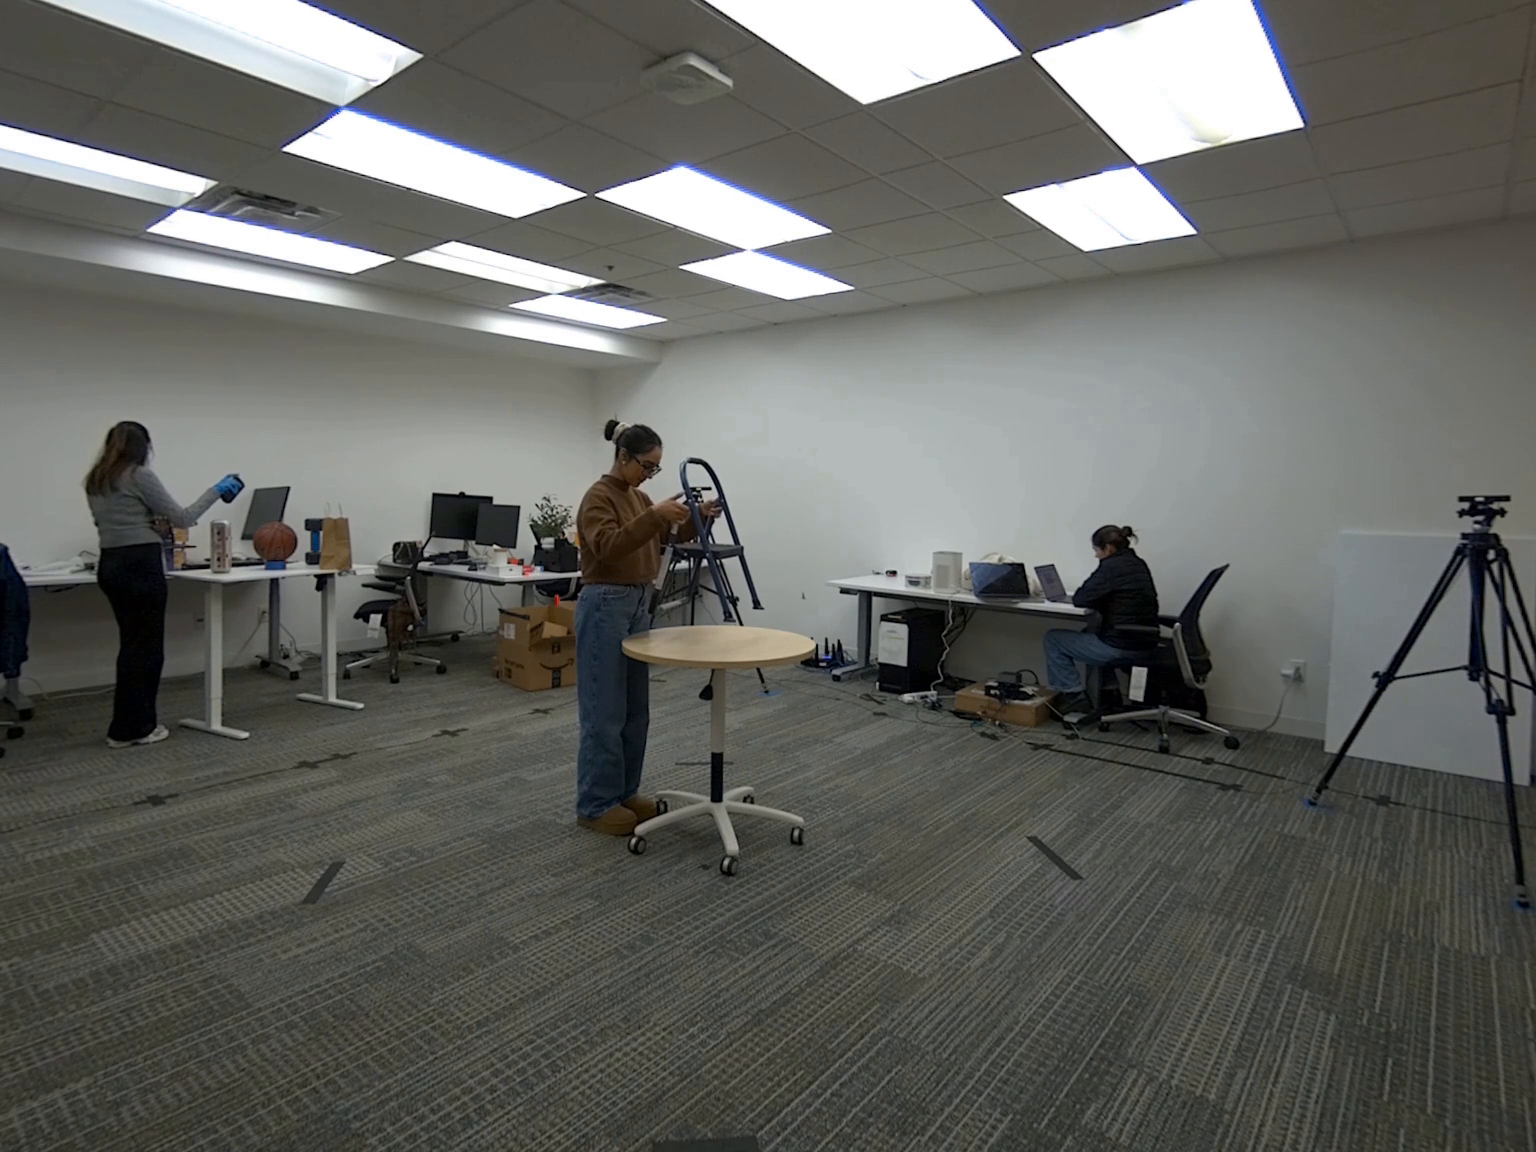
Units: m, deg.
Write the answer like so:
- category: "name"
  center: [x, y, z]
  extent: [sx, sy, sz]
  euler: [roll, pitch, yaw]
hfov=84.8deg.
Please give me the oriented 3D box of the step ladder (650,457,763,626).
- category: "step ladder"
  center: [-0.246, -0.161, 3.362]
  extent: [0.356, 0.604, 0.424]
  euler: [3, 4, 16]
